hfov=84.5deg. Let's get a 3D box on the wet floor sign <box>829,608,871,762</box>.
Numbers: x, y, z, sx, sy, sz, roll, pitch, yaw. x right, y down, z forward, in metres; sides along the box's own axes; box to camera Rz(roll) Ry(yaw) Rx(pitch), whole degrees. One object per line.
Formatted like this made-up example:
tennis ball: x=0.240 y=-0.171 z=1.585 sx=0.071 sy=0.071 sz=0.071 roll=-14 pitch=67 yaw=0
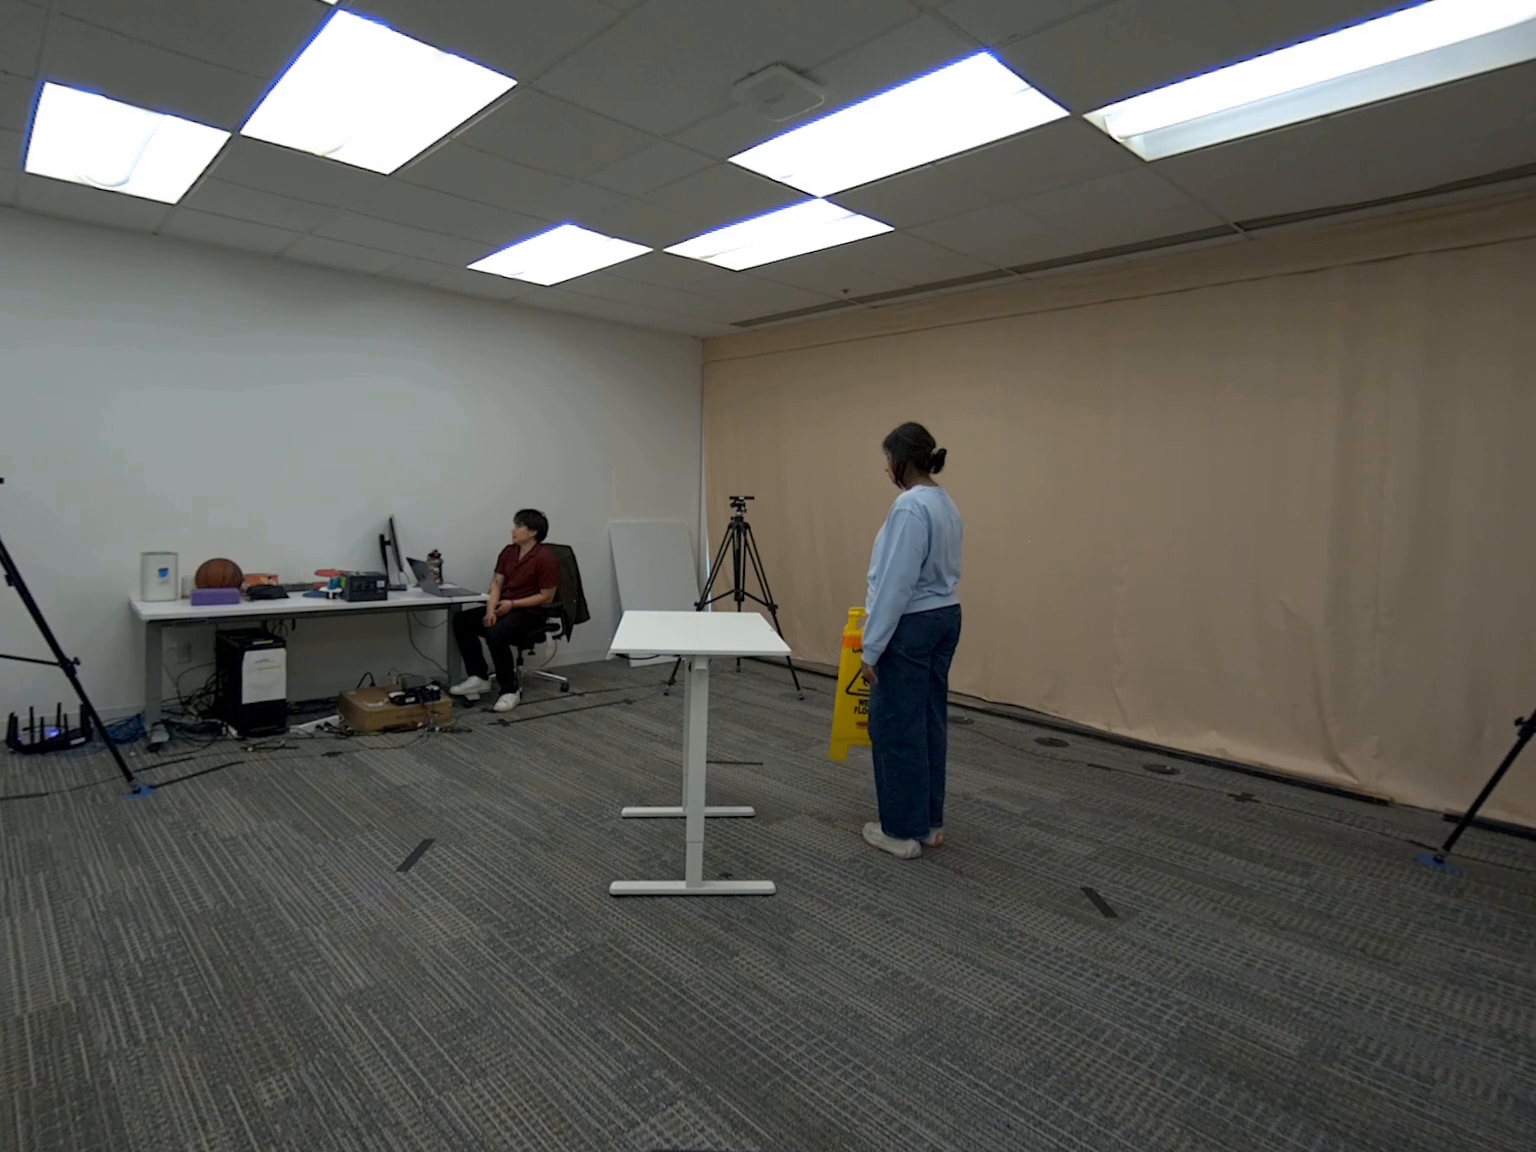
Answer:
wet floor sign: x=0.425 y=0.473 z=3.711 sx=0.284 sy=0.644 sz=0.288 roll=5 pitch=4 yaw=7
